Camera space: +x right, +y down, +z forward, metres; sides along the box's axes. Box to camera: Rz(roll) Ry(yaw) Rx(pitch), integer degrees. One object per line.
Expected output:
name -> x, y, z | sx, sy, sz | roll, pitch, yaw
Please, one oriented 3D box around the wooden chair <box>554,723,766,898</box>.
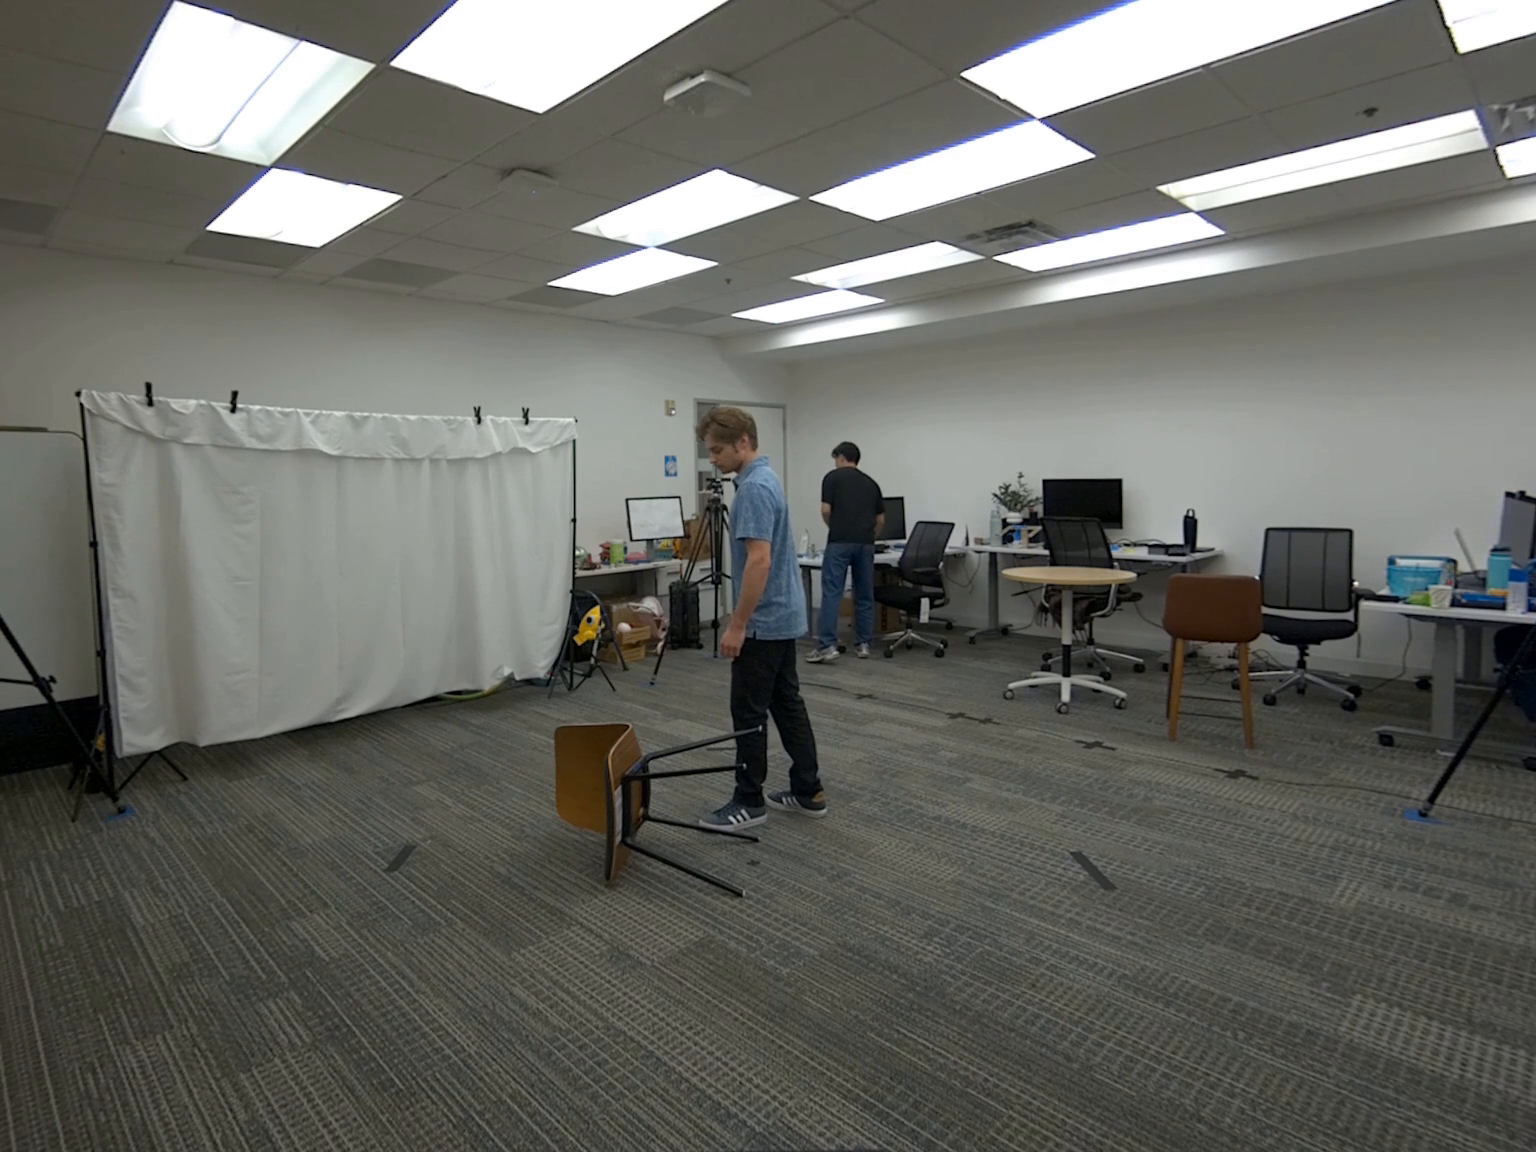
wooden chair -> -0.484, 0.818, 3.114 | 0.889, 0.476, 0.519 | 1, 6, 13
